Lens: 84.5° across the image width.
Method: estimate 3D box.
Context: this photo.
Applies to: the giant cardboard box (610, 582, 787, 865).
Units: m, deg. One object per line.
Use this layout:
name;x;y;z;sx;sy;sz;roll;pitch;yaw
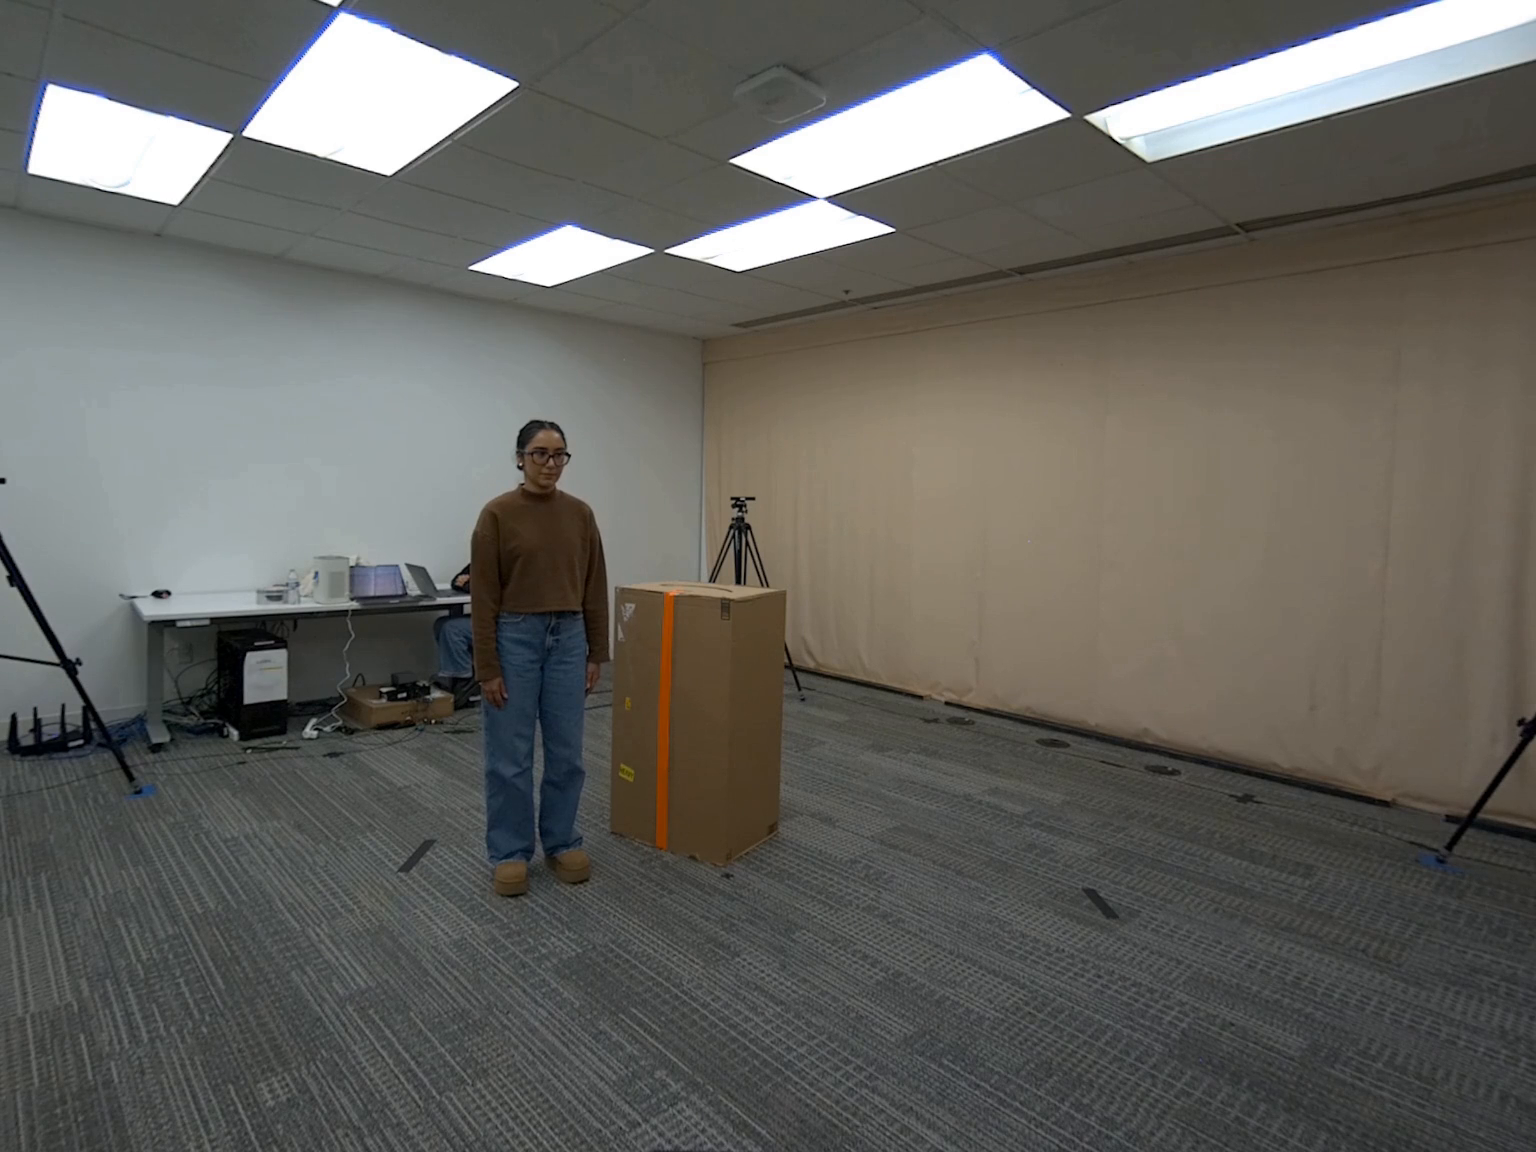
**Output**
giant cardboard box;-0.295;0.562;3.478;0.591;1.023;0.417;4;4;32
